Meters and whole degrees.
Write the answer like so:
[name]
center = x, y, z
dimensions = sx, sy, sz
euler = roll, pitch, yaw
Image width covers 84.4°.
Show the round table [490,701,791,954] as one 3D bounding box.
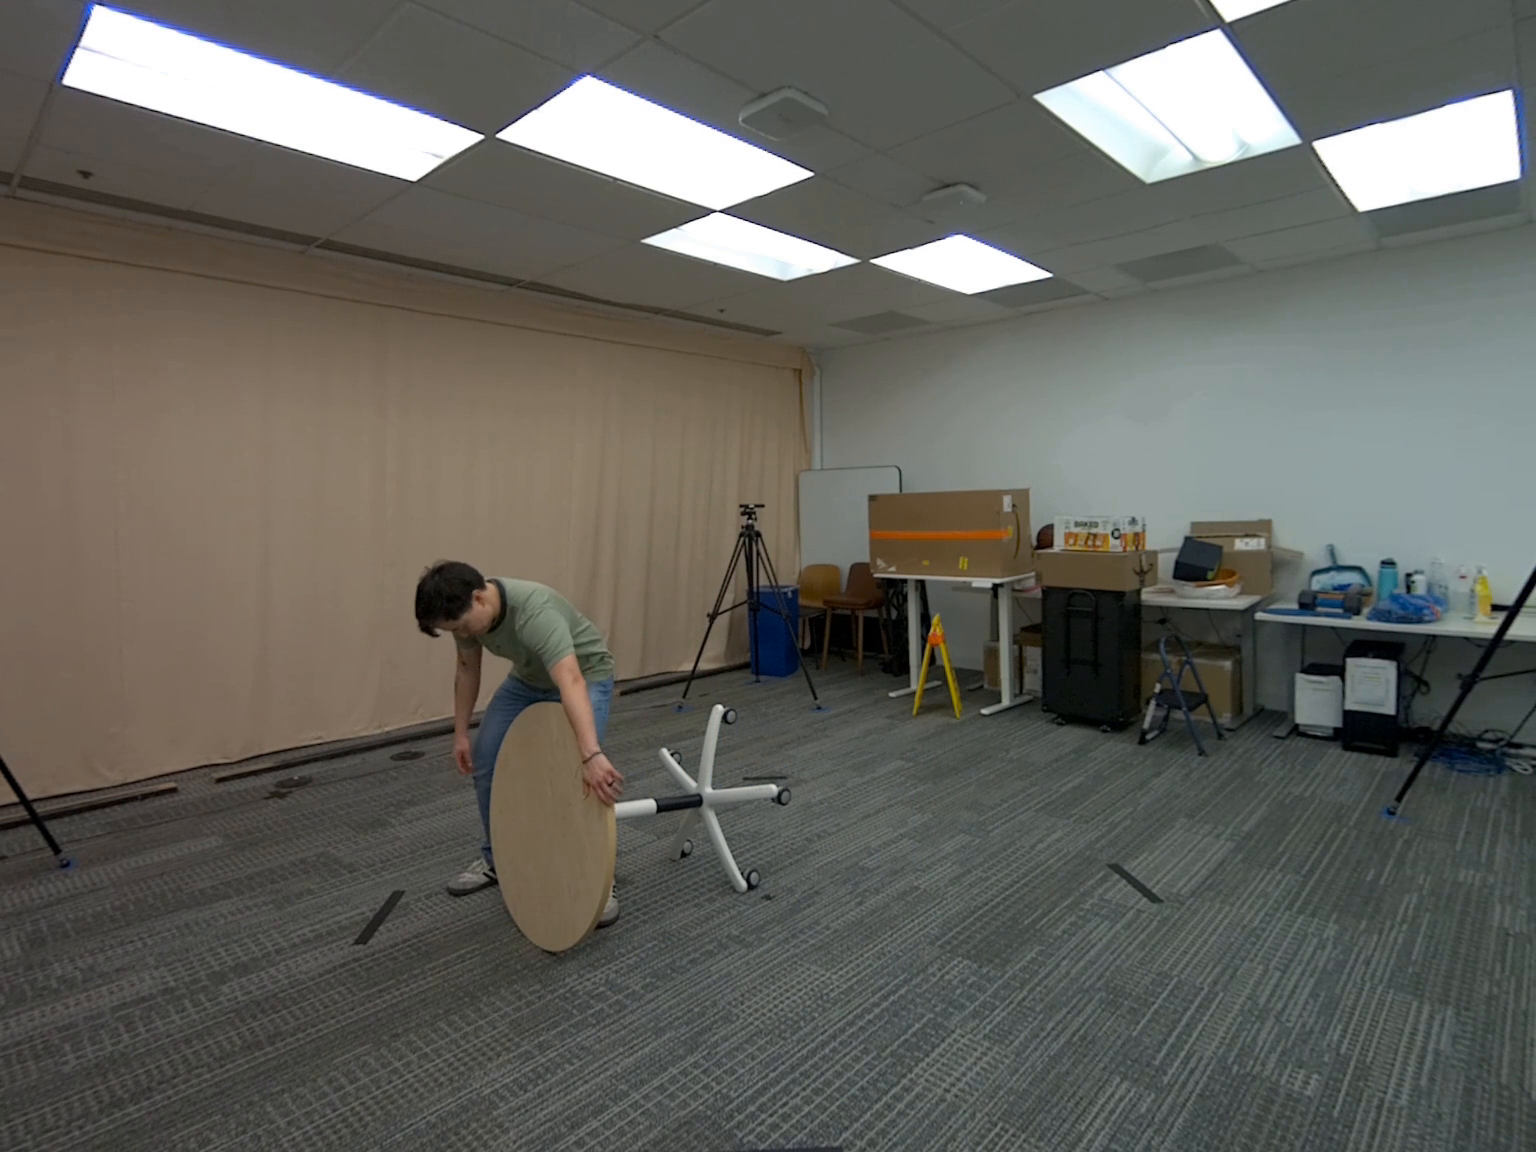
[round table]
center = -0.433, 0.821, 2.970
dimensions = 0.768, 0.764, 0.789
euler = 5, -1, -43
